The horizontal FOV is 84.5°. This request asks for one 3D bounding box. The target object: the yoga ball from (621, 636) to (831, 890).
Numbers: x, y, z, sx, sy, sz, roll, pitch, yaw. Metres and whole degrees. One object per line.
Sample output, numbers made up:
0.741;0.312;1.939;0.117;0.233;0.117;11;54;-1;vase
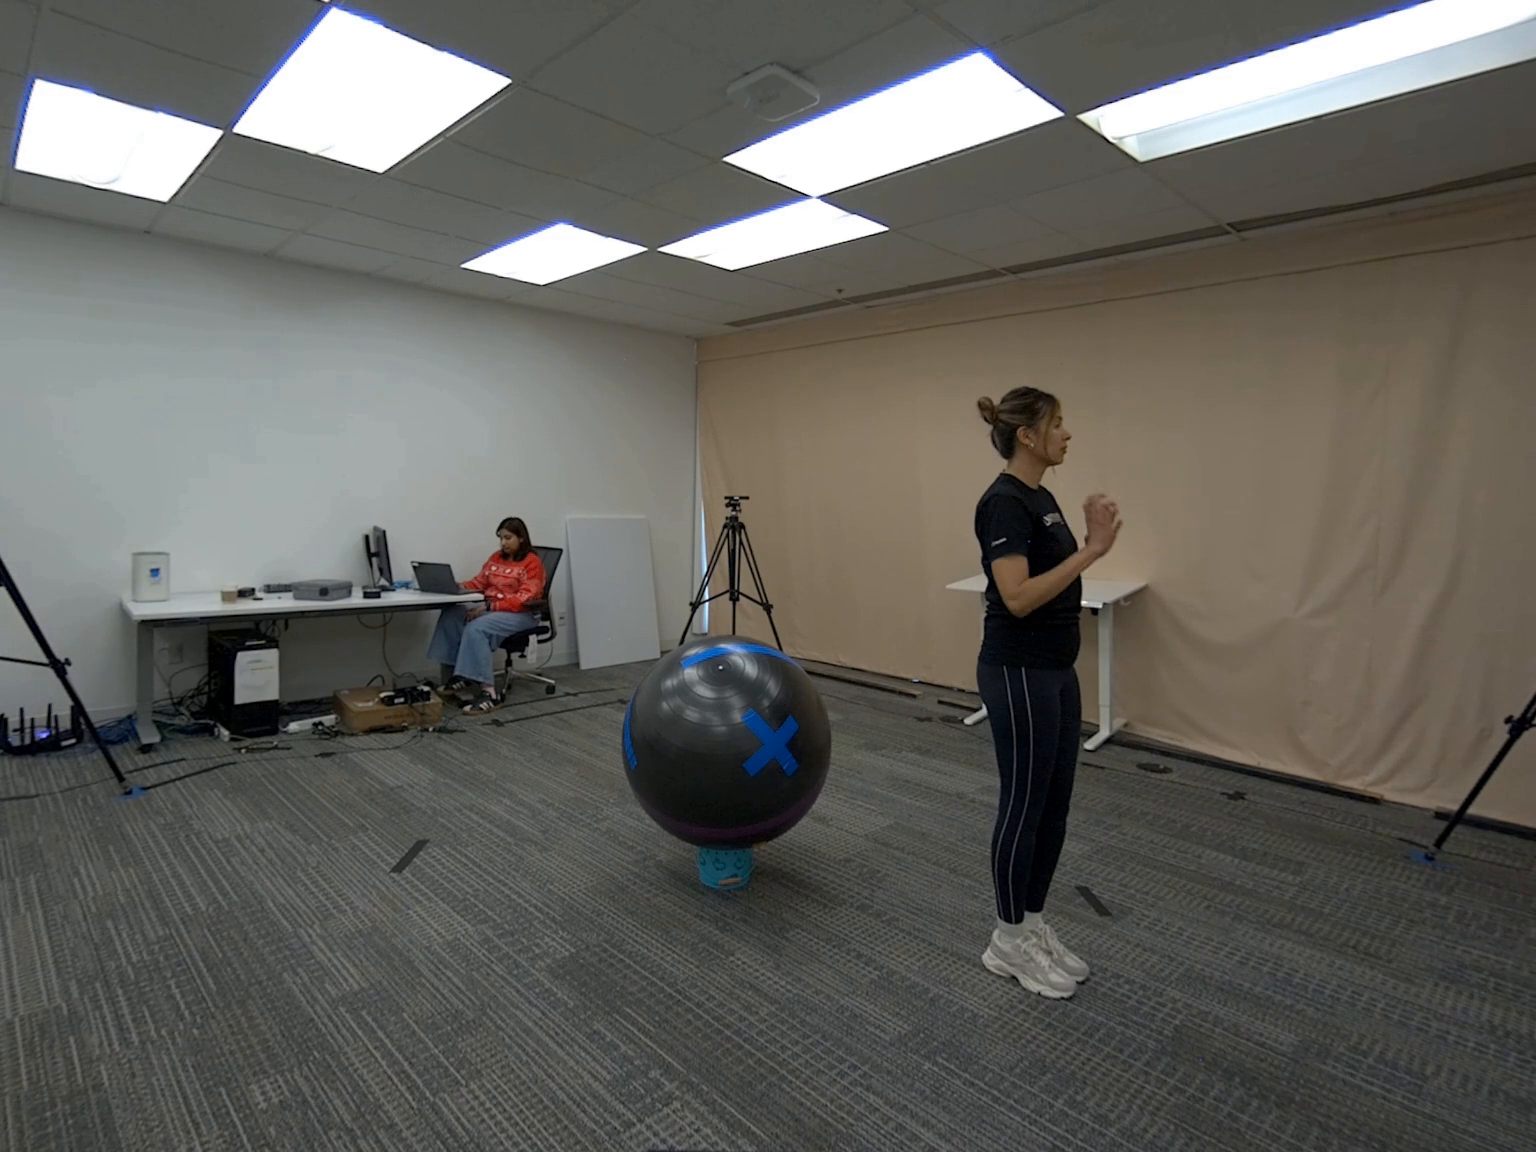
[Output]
-0.154;0.601;3.049;0.757;0.756;0.761;1;4;-1;yoga ball
